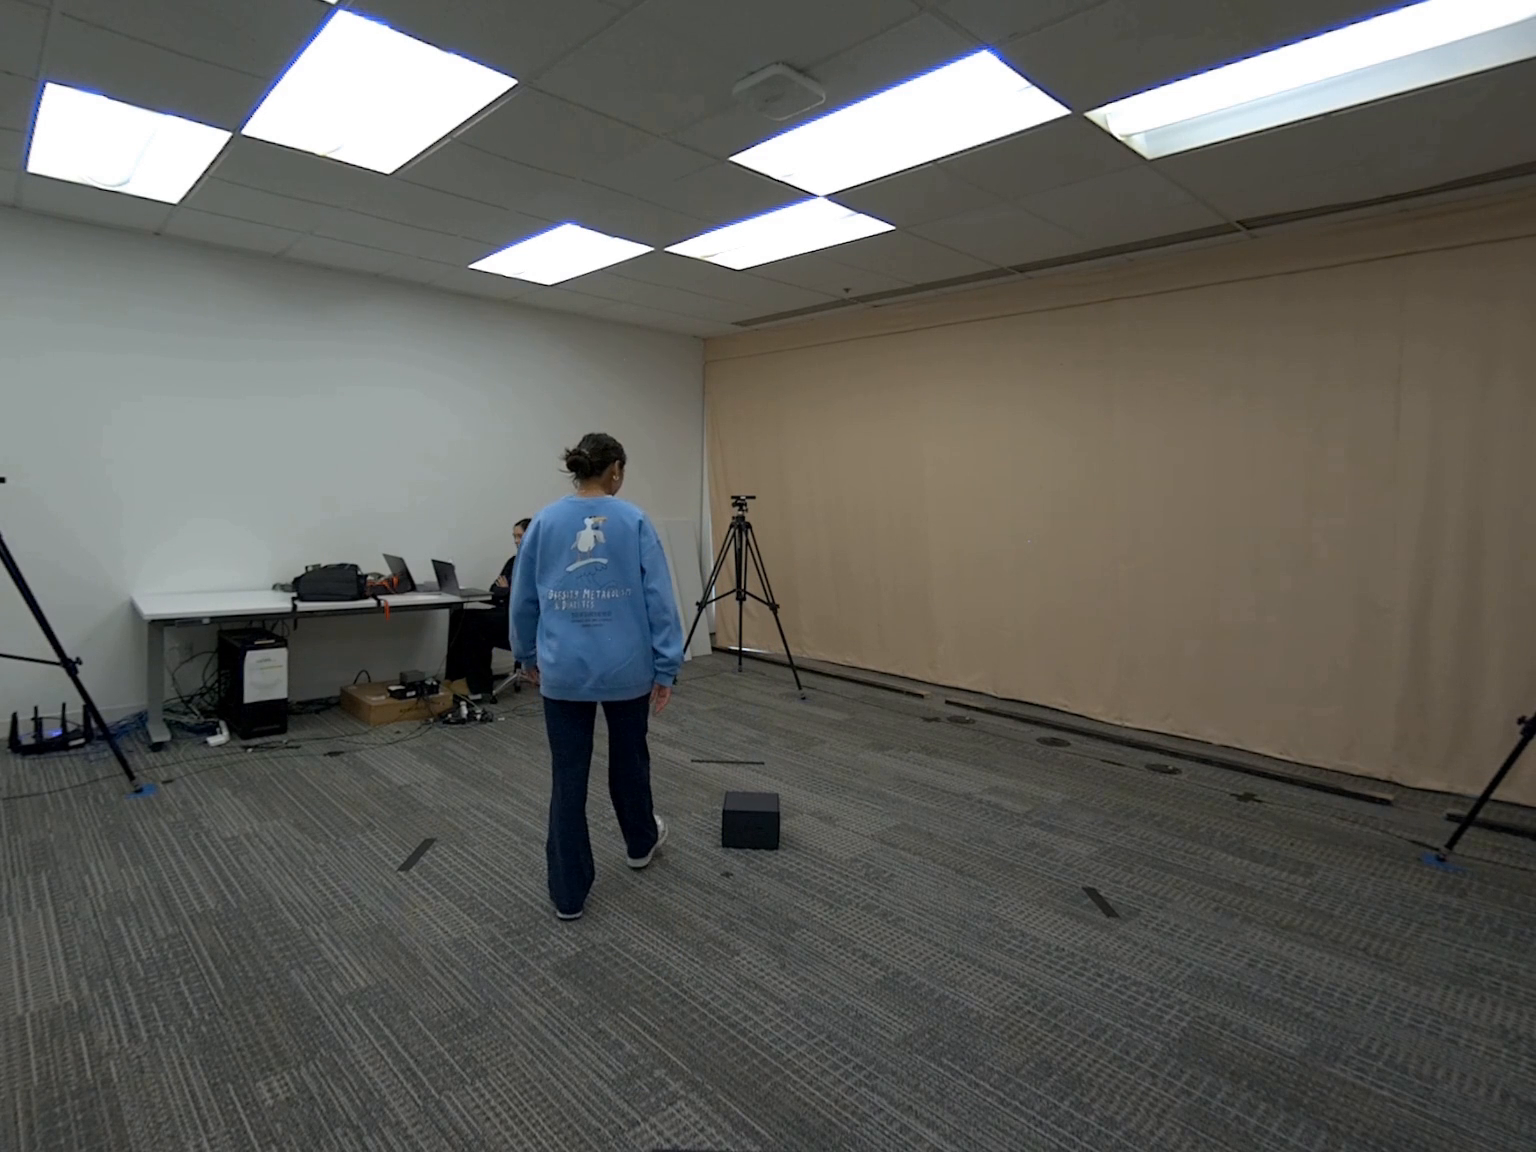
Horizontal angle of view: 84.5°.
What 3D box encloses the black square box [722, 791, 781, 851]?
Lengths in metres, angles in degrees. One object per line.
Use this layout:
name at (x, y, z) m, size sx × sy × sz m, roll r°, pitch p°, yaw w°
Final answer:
black square box at (-0.072, 0.987, 3.436) m, size 0.228 × 0.155 × 0.217 m, roll 2°, pitch 4°, yaw 1°
